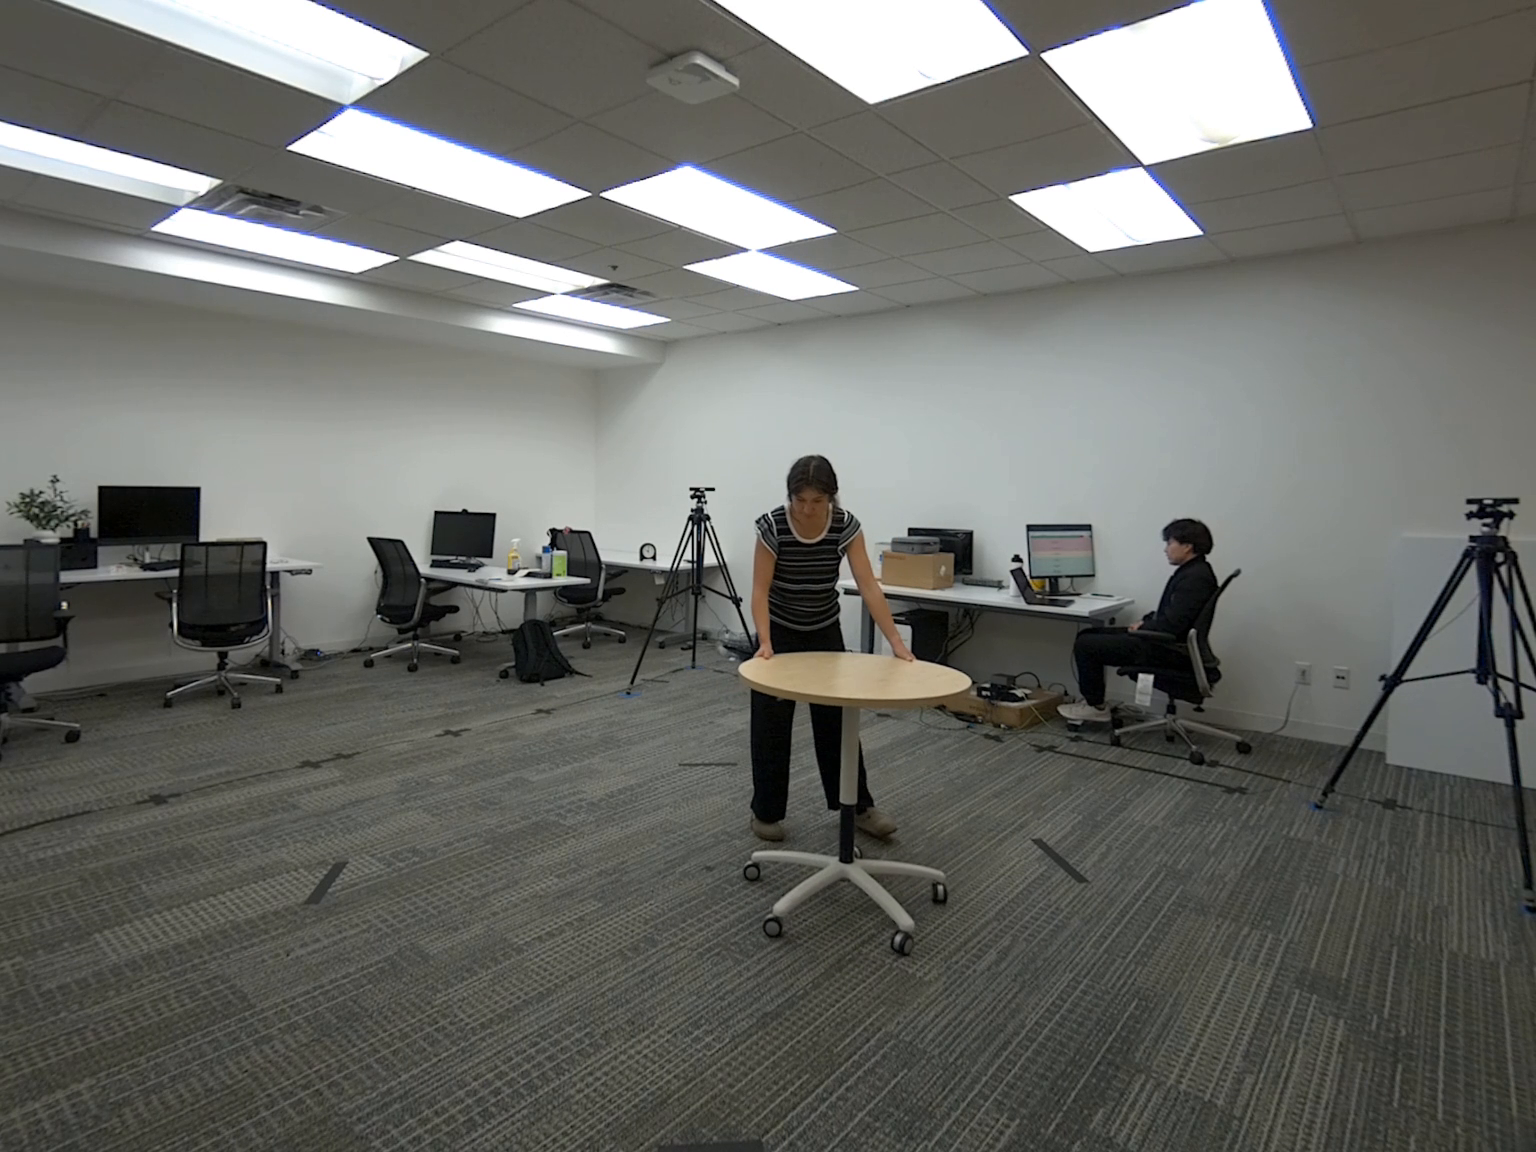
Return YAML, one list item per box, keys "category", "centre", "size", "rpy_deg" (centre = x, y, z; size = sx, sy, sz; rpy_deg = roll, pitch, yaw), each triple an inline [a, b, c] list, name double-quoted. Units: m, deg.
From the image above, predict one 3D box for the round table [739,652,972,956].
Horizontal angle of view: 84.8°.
- category: "round table"
  centre: [0.256, 0.713, 2.858]
  size: [0.763, 0.792, 0.767]
  rpy_deg: [2, 3, -2]
